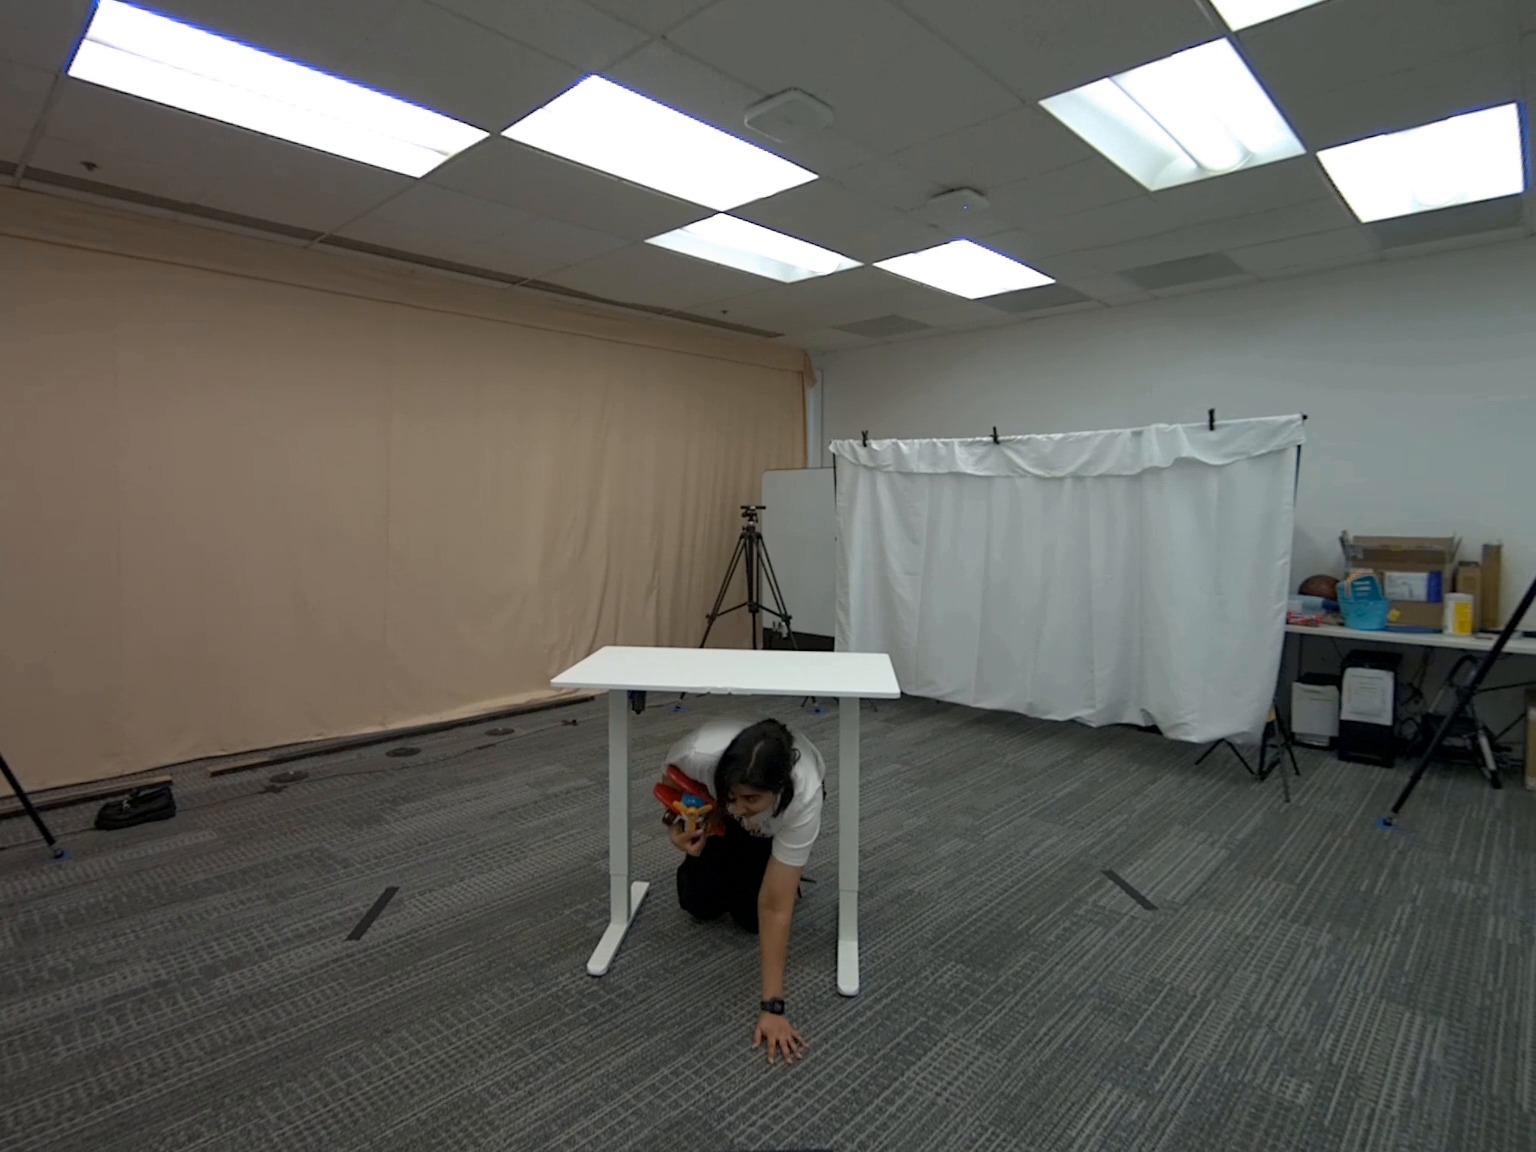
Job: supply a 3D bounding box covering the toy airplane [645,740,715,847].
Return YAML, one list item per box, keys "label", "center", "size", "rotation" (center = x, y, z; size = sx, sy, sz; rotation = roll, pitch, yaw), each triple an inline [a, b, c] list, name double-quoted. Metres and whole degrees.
- label: "toy airplane"
  center: [-0.216, 0.682, 2.608]
  size: [0.243, 0.157, 0.266]
  rotation: [20, 31, -29]
